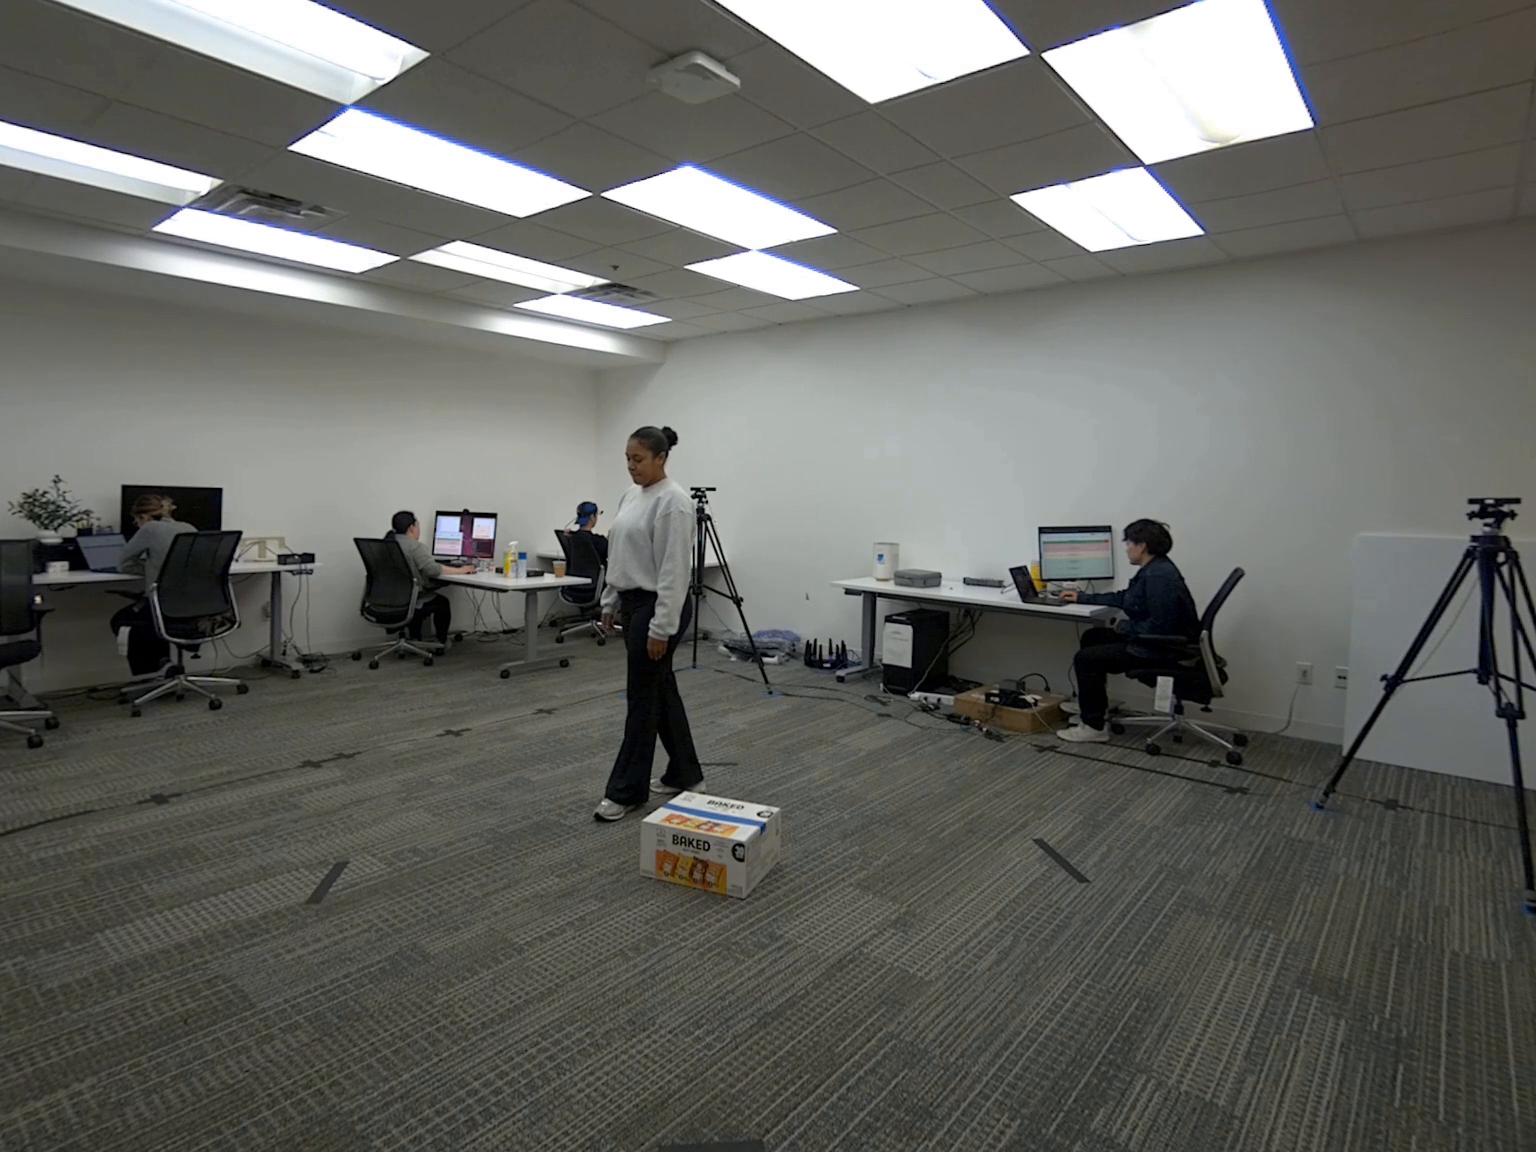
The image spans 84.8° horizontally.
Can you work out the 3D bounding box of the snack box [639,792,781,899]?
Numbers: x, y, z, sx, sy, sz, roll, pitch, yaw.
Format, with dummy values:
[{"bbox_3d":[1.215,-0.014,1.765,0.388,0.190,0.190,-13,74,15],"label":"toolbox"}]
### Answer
[{"bbox_3d":[-0.214,0.965,3.098,0.415,0.205,0.333,3,5,23],"label":"snack box"}]
